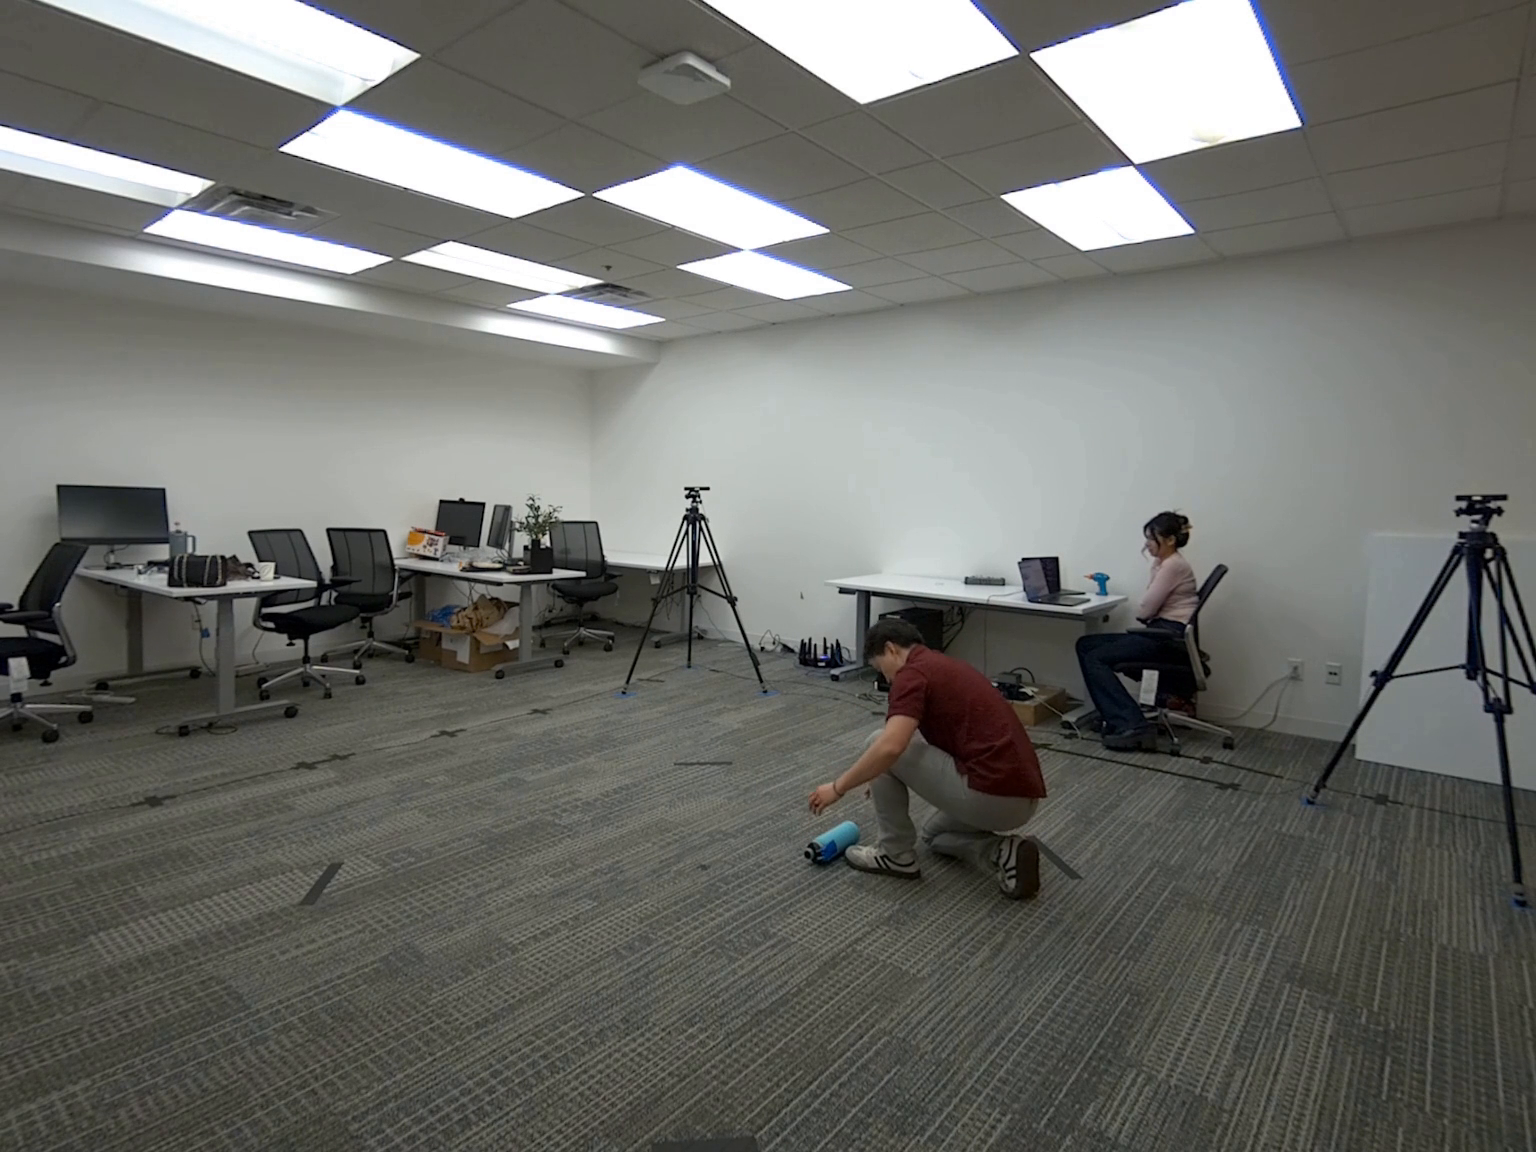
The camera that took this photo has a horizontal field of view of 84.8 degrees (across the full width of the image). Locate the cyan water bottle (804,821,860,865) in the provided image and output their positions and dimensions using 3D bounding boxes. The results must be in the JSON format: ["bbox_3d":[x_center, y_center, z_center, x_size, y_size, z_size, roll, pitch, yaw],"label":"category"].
[{"bbox_3d":[0.237,1.012,3.243,0.095,0.092,0.275,4,6,36],"label":"cyan water bottle"}]
